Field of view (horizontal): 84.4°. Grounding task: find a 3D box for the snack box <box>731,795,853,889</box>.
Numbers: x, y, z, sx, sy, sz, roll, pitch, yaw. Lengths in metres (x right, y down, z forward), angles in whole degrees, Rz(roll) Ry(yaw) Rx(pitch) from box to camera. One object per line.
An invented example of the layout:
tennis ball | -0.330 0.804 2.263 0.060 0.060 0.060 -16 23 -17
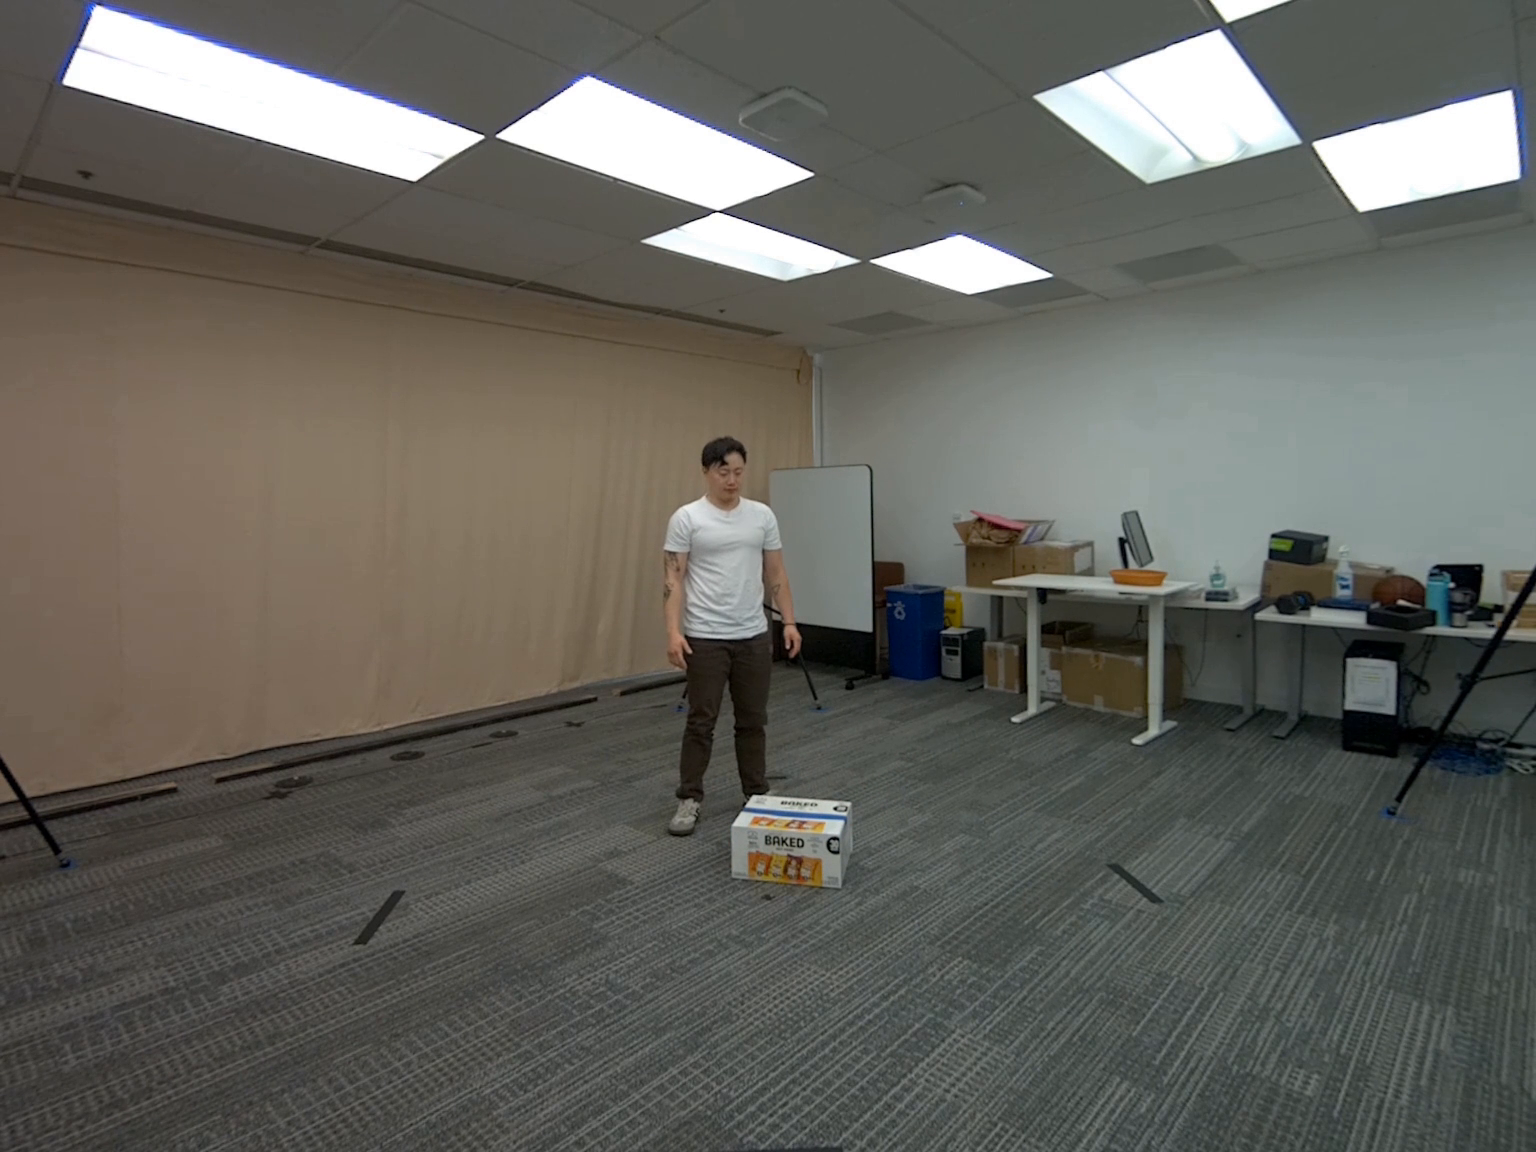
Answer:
snack box | 0.104 1.013 3.233 0.412 0.205 0.336 0 5 14
